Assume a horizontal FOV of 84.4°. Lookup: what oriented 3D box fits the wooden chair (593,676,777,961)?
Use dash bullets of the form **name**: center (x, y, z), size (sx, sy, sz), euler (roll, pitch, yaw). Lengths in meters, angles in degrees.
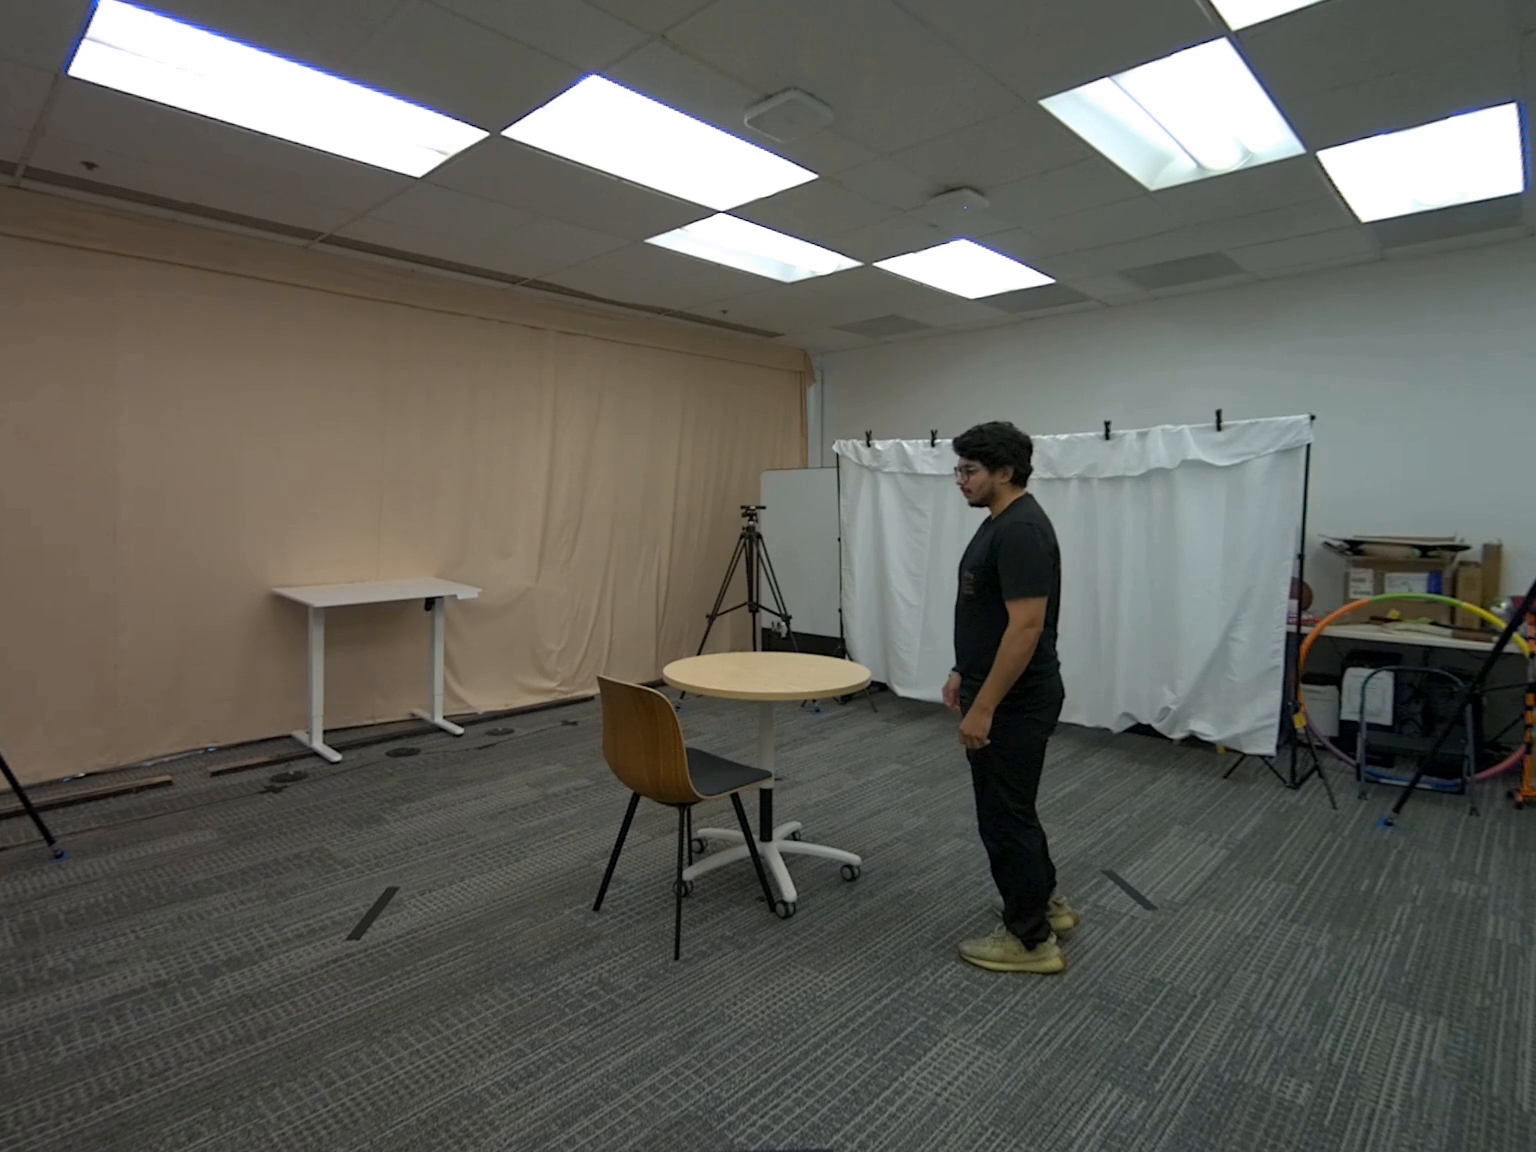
- **wooden chair**: center (-0.270, 0.720, 2.872), size (0.508, 0.874, 0.494), euler (-9, 8, -43)
